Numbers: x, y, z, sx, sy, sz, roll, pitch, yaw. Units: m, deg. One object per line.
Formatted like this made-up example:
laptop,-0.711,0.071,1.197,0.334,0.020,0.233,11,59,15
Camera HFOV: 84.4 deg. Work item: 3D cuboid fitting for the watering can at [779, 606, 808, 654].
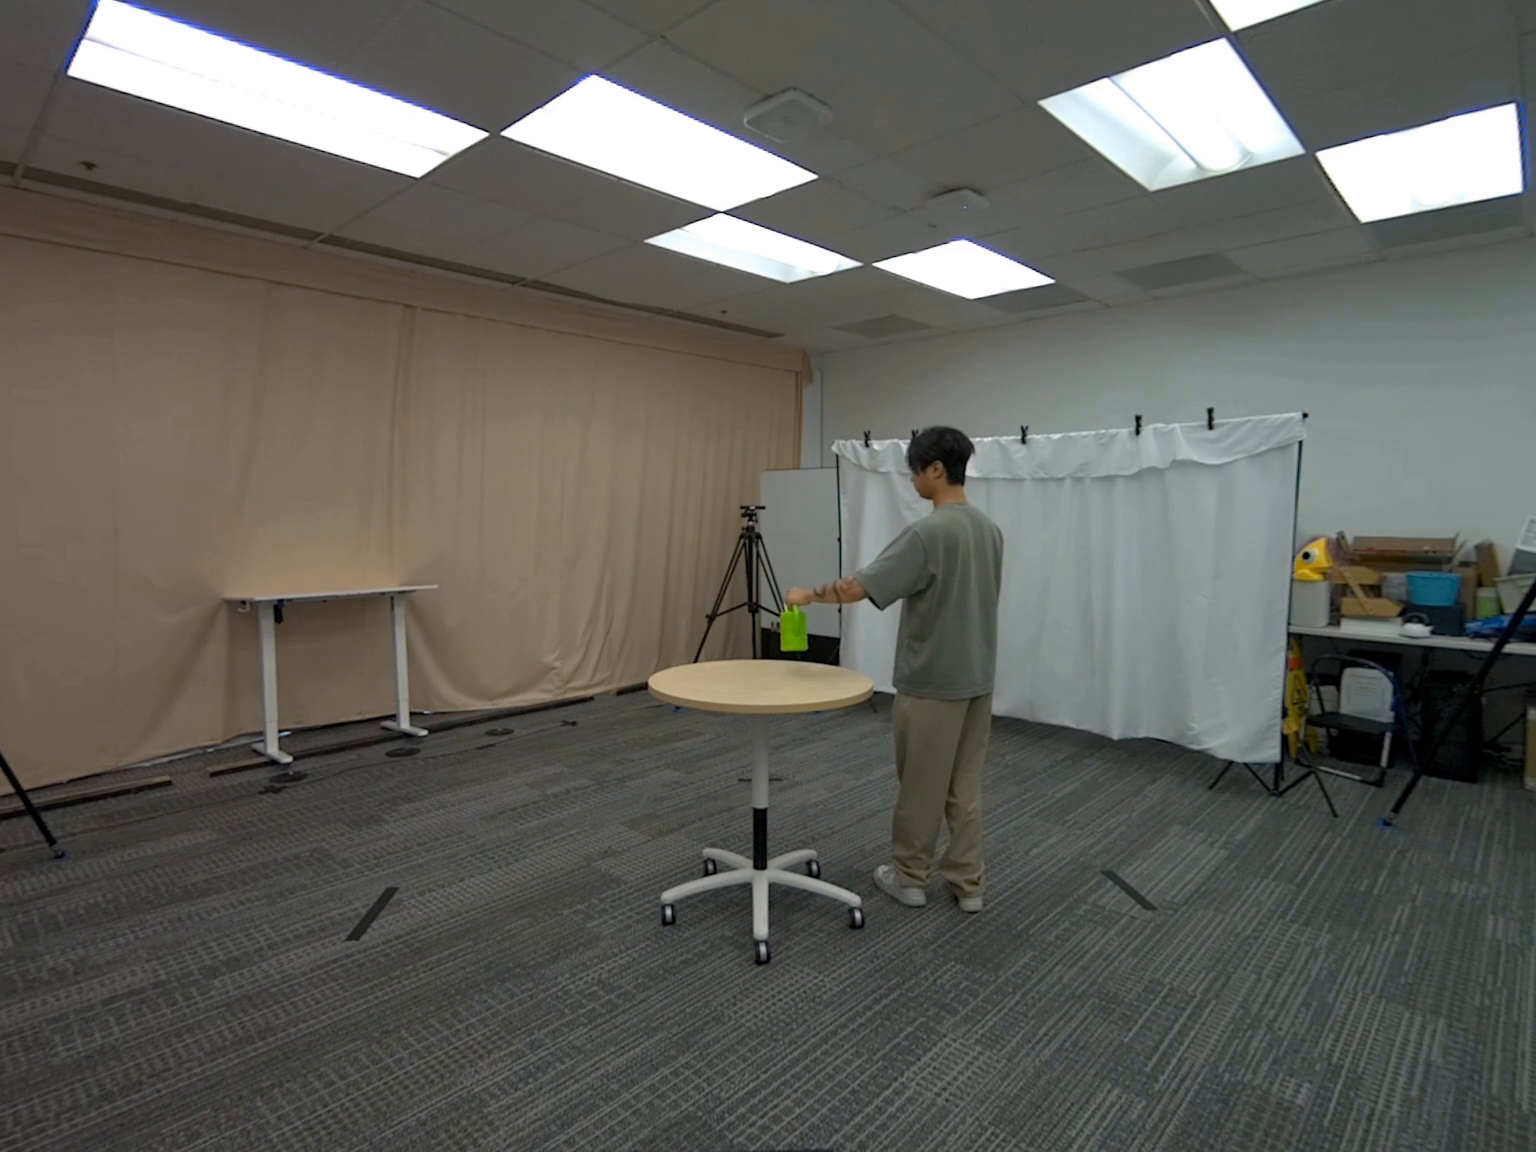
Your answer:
watering can,0.096,0.187,3.060,0.098,0.177,0.278,-1,-4,-4
